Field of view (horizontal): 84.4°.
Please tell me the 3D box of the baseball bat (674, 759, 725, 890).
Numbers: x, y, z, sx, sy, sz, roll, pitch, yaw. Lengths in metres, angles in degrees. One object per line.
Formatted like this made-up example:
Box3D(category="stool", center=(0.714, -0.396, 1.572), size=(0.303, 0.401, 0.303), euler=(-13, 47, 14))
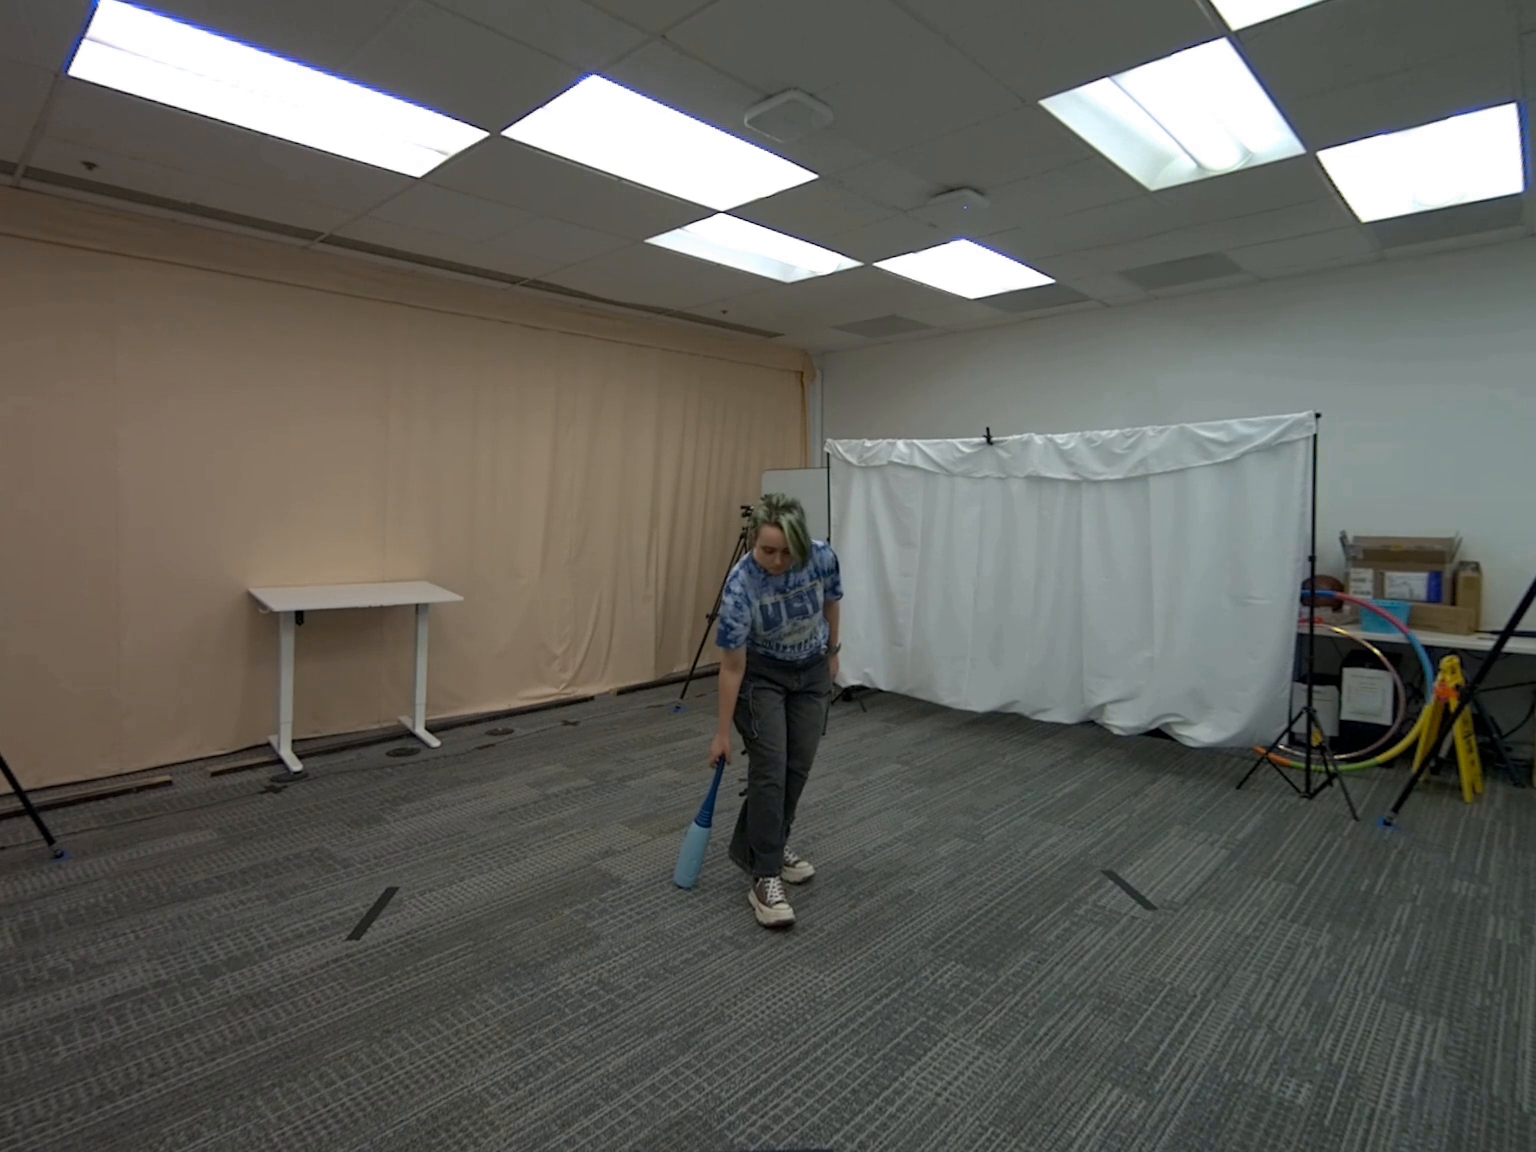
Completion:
Box3D(category="baseball bat", center=(-0.229, 0.887, 3.048), size=(0.088, 0.541, 0.090), euler=(17, 10, -5))
